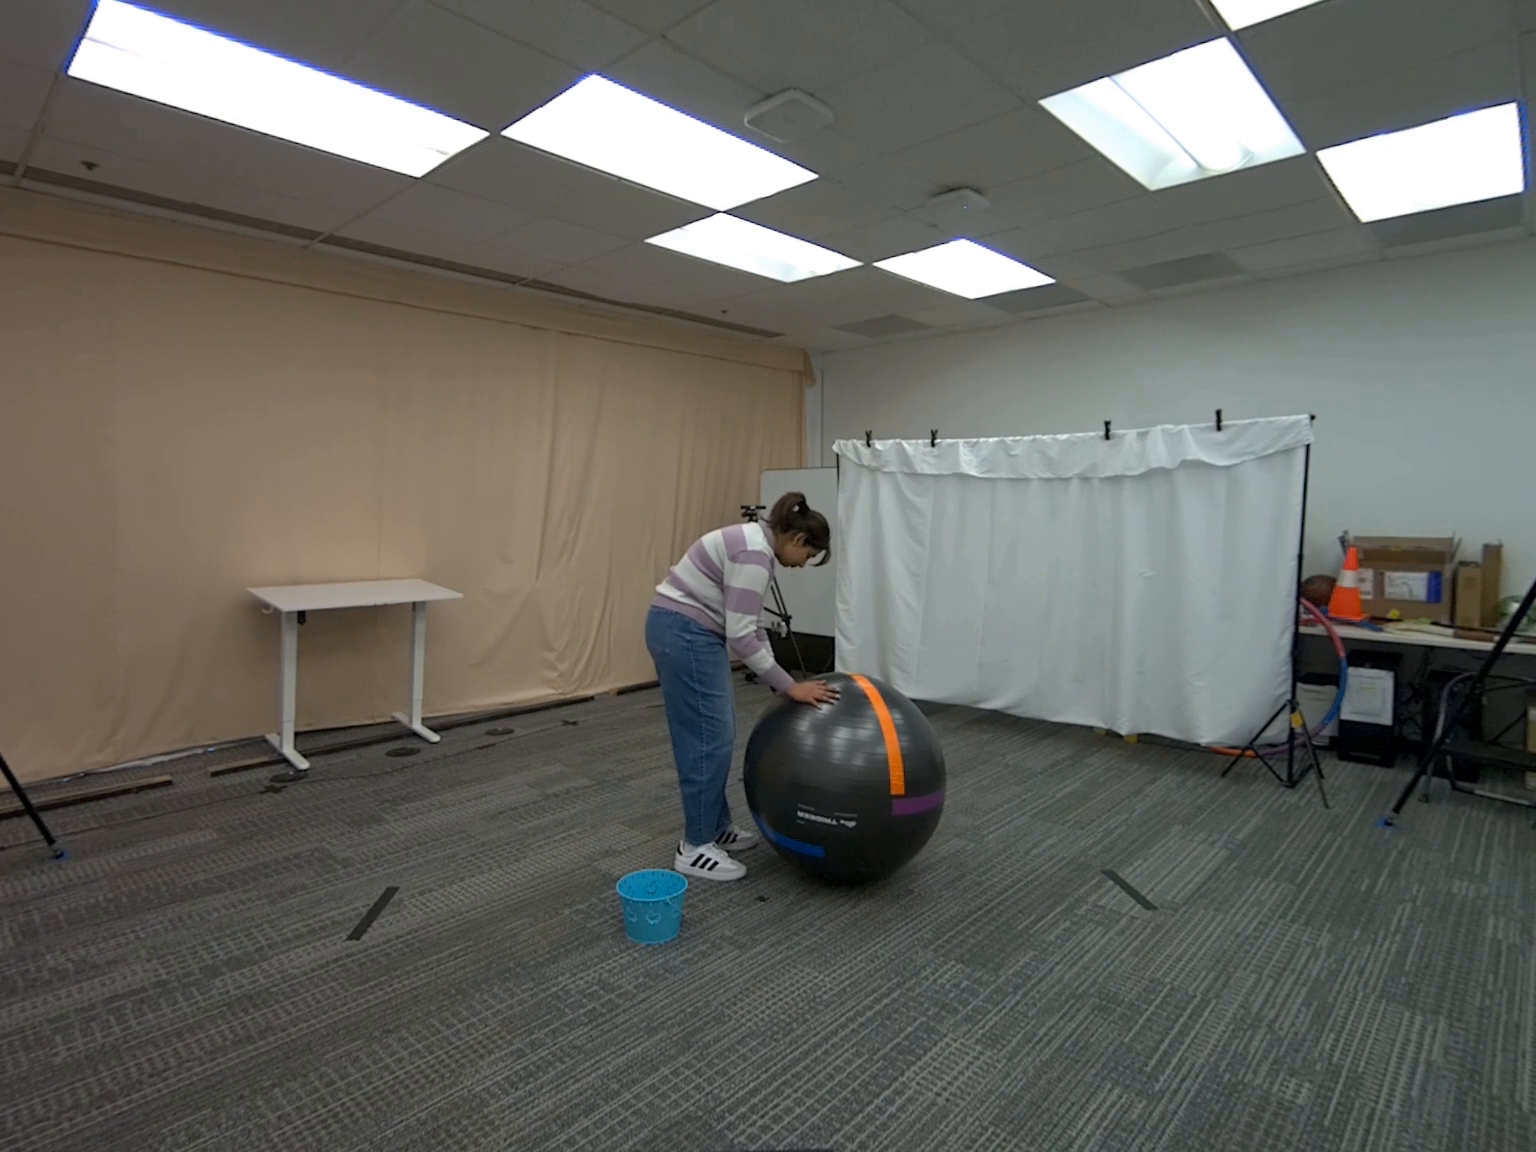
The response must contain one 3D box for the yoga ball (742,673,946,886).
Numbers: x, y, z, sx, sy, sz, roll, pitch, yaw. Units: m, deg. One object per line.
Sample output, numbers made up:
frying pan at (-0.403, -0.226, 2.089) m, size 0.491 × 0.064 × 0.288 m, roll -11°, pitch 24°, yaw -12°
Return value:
yoga ball at (0.295, 0.755, 3.185) m, size 0.757 × 0.756 × 0.760 m, roll 0°, pitch 4°, yaw -2°
